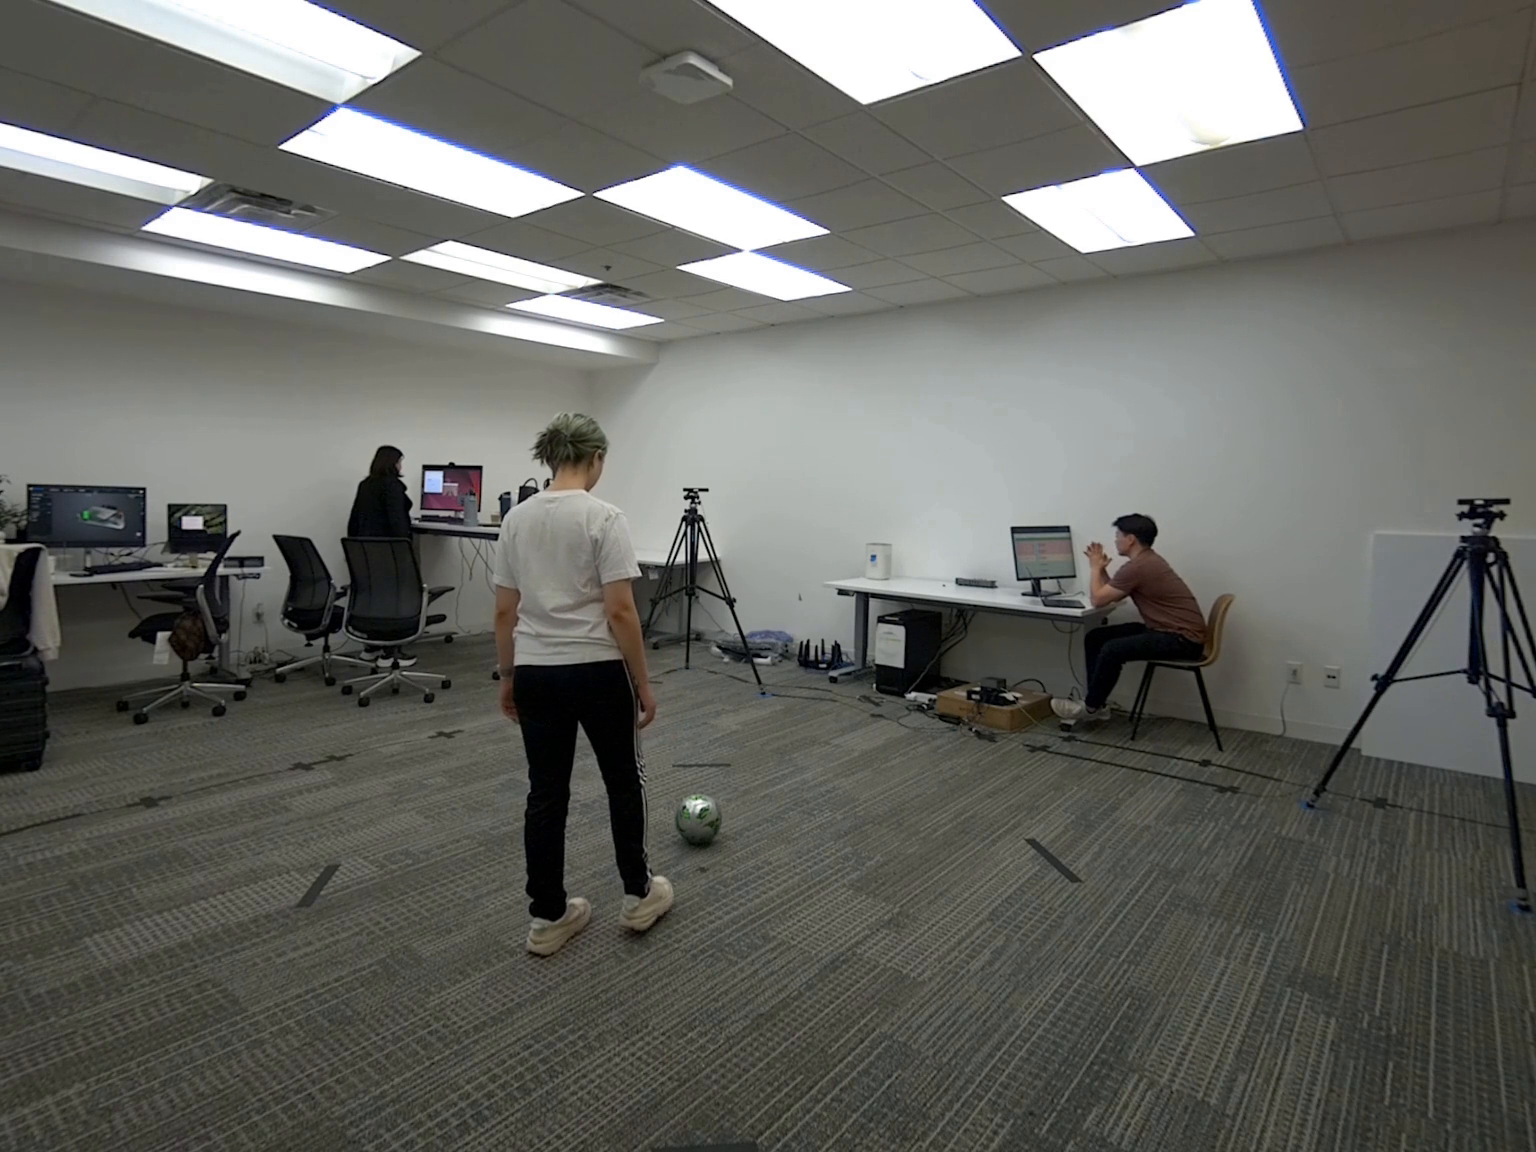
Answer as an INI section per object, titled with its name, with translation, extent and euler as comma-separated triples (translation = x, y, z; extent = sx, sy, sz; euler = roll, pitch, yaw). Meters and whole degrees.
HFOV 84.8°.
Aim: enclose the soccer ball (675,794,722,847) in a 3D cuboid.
[soccer ball]
translation = -0.281, 0.951, 3.347
extent = 0.187, 0.187, 0.188
euler = 1, 4, -2
